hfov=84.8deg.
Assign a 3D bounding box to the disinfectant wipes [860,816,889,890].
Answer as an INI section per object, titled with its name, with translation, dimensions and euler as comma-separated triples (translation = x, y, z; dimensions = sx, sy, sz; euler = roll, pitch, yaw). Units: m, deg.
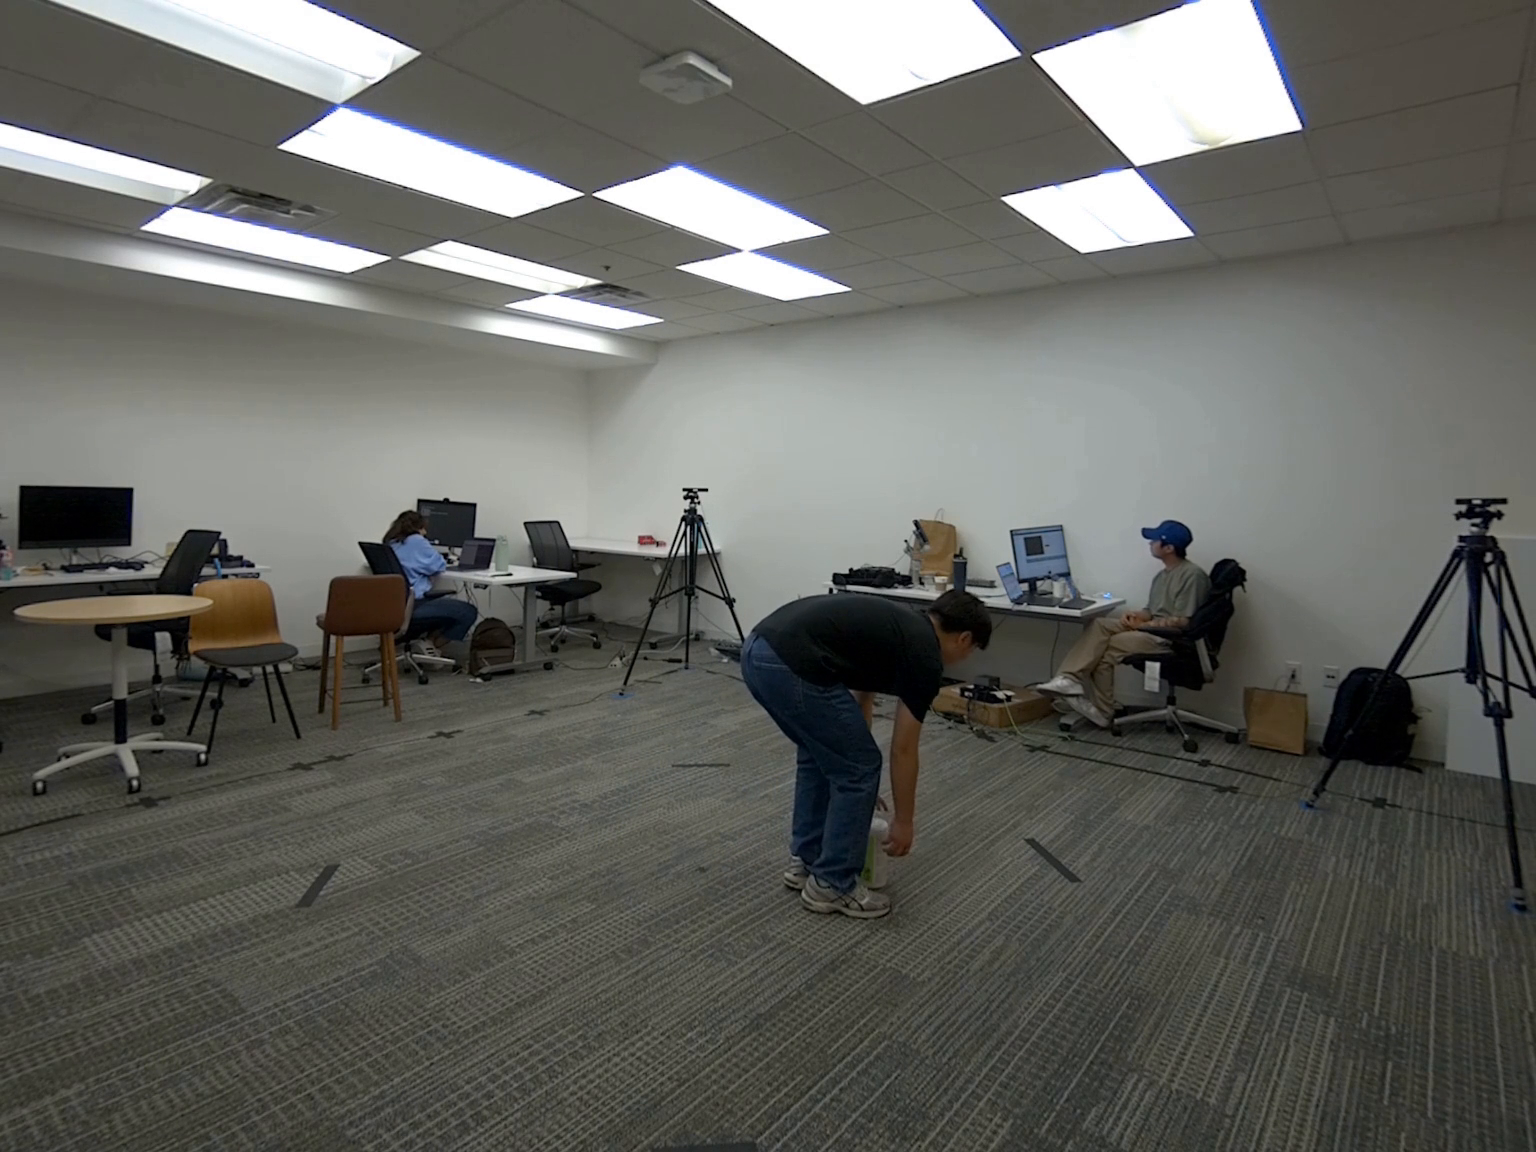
[disinfectant wipes]
translation = 0.365, 0.986, 3.023
dimensions = 0.117, 0.216, 0.118
euler = 3, 6, -2
